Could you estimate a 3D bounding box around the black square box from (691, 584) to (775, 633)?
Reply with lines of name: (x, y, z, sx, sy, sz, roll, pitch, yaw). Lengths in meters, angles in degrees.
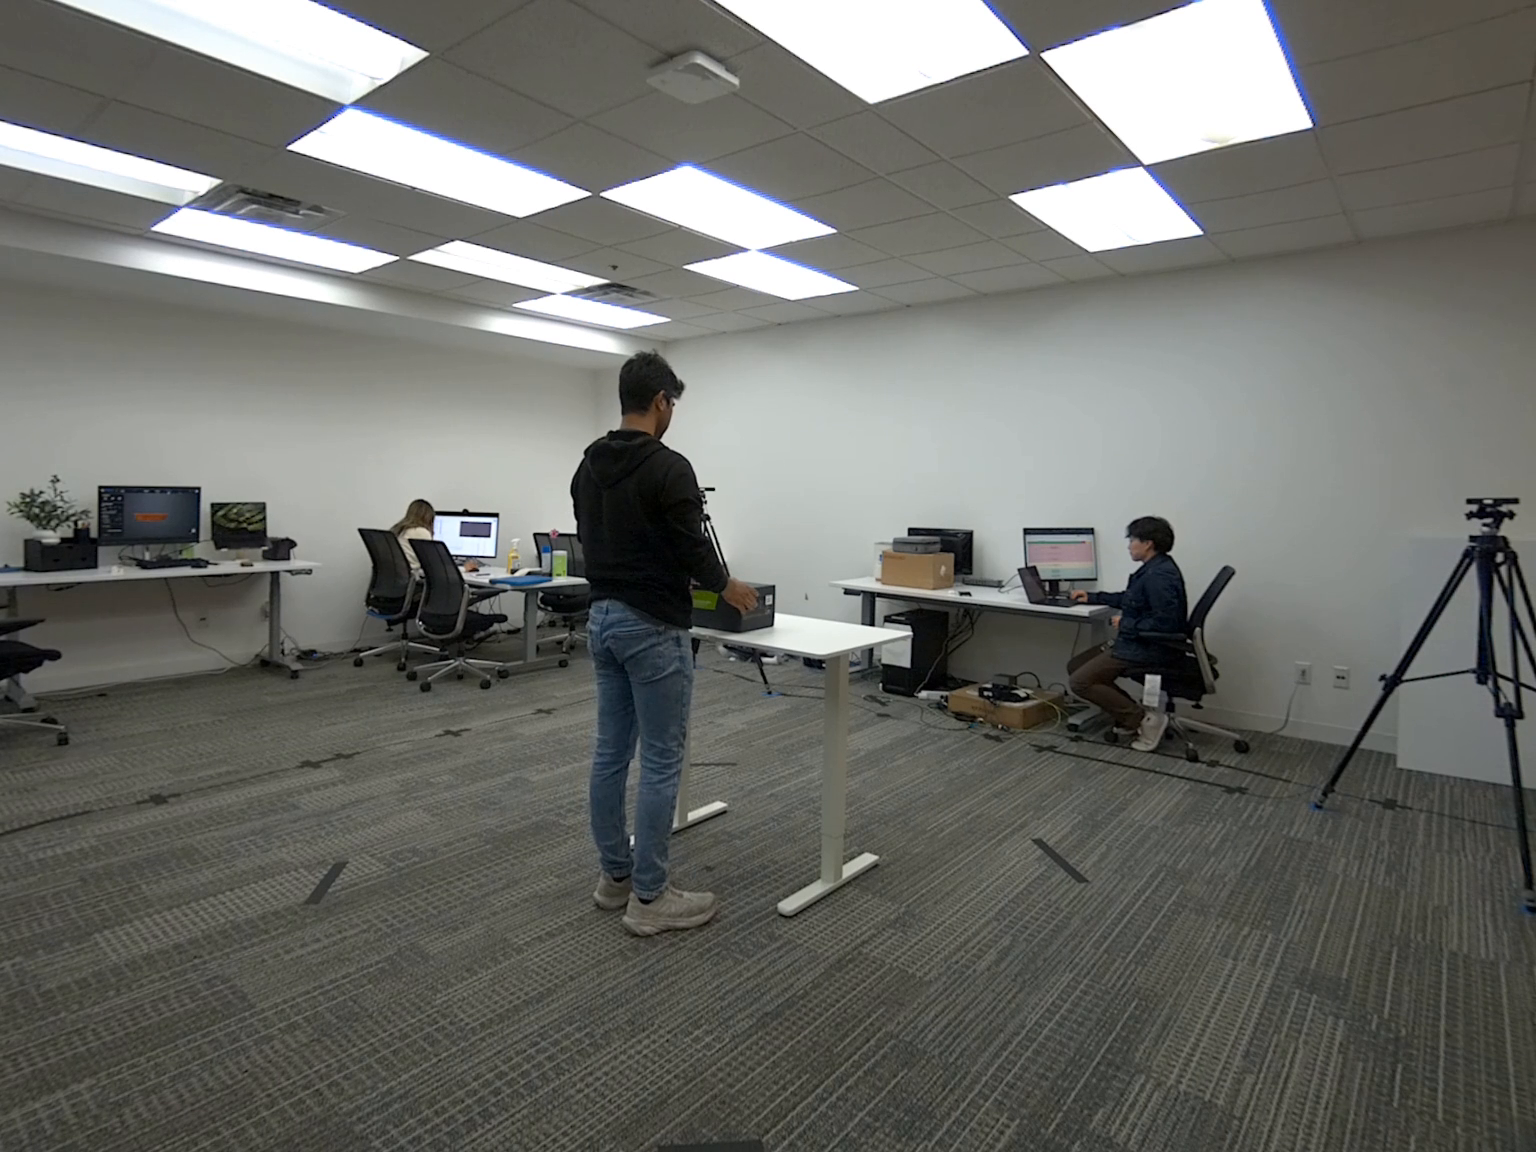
black square box: (-0.134, 0.102, 3.134, 0.235, 0.155, 0.211, 5, 6, 36)
